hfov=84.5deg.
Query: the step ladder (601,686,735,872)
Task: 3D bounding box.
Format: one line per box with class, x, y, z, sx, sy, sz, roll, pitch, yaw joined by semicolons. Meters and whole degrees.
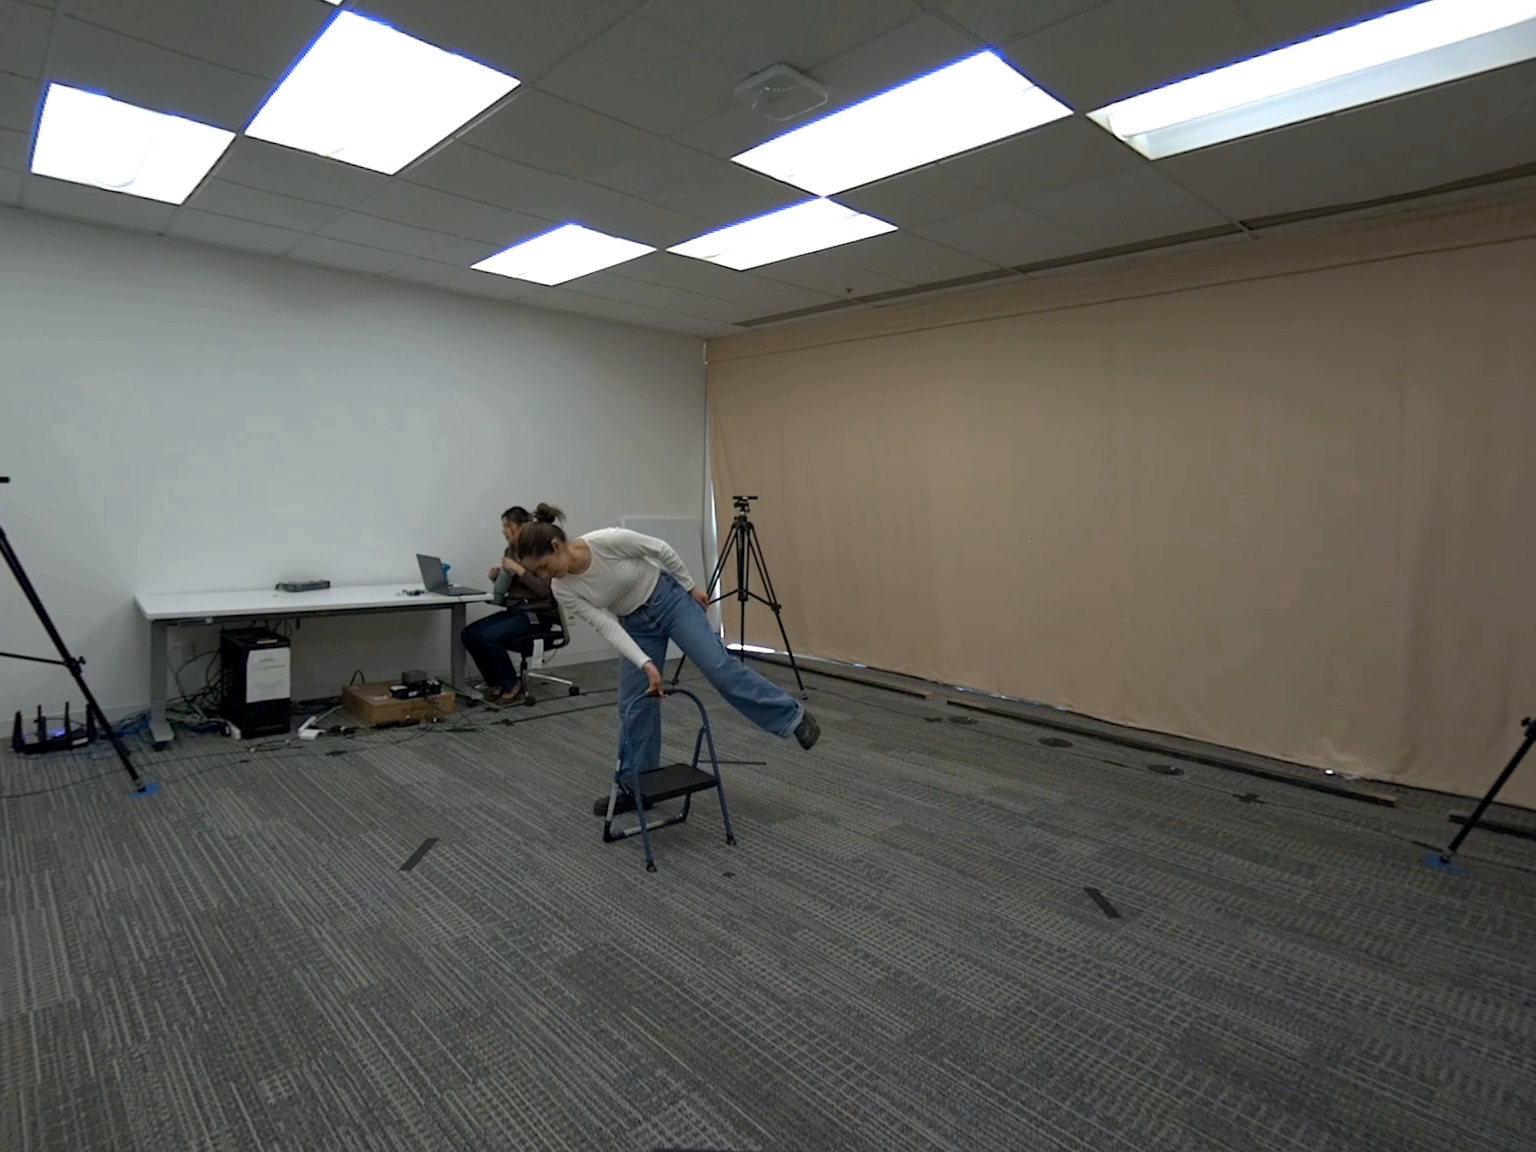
step ladder;-0.394;0.773;3.364;0.421;0.604;0.358;-2;5;-43
